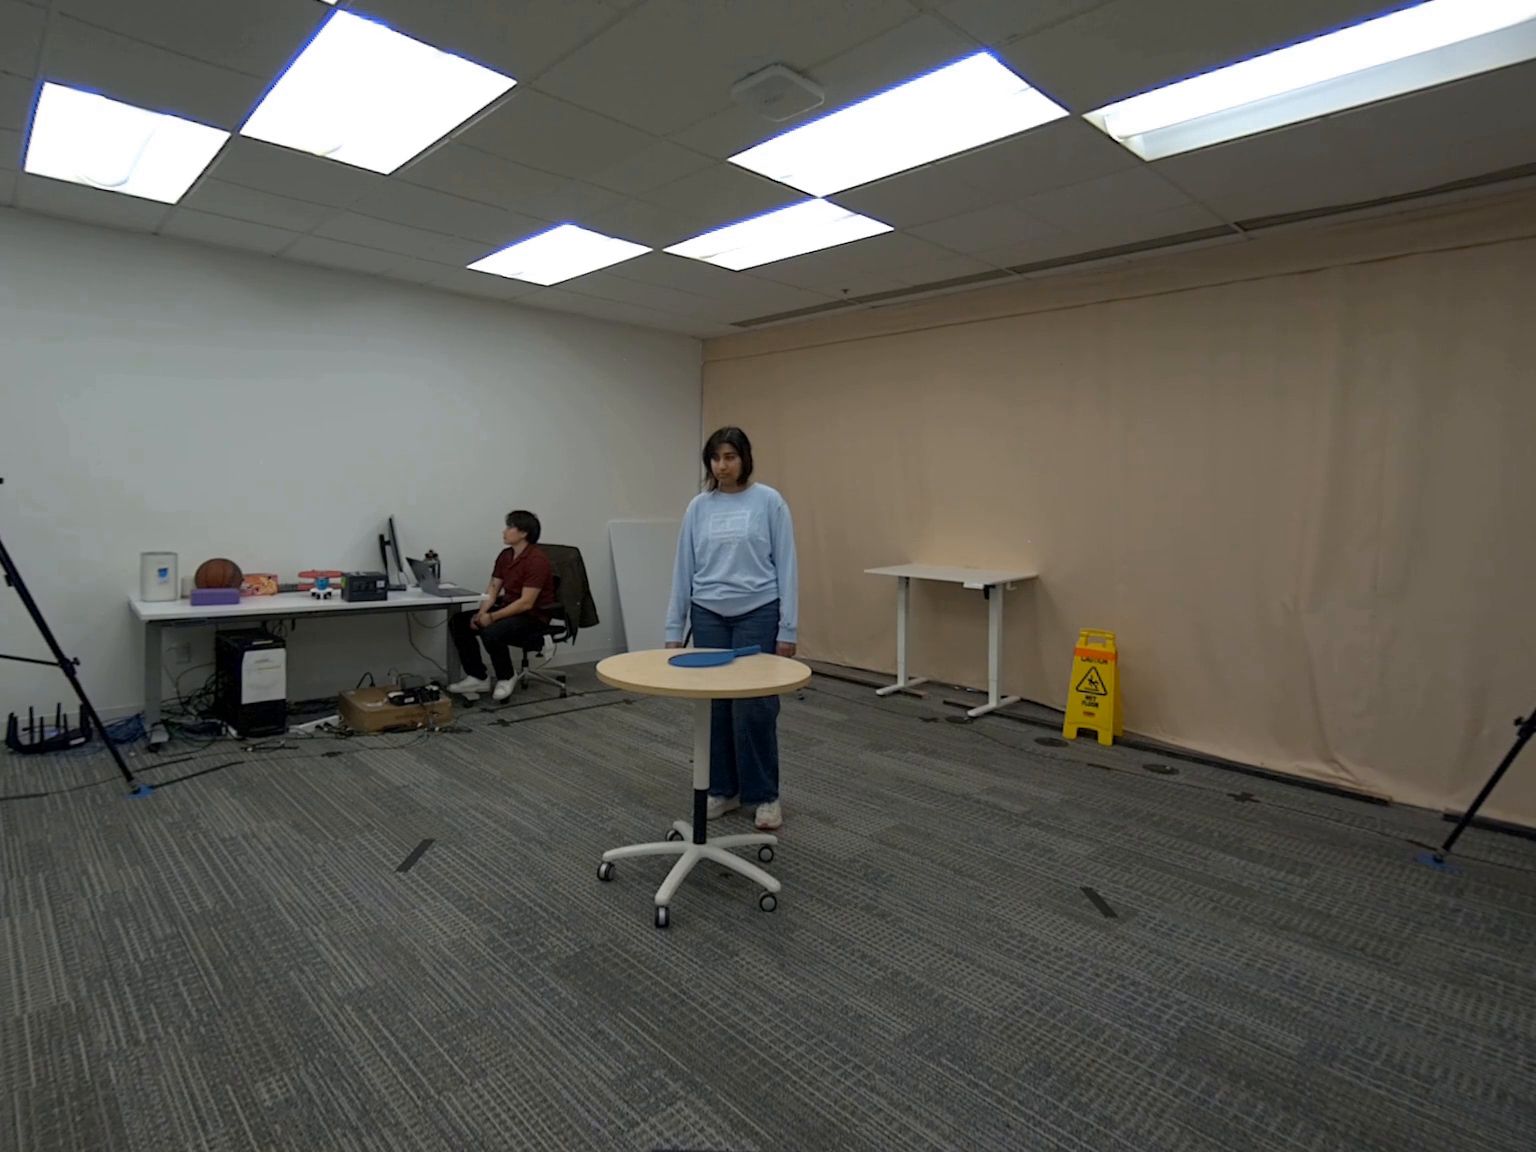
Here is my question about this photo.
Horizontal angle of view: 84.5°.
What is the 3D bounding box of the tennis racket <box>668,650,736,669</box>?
[{"bbox_3d":[-0.208,0.311,3.189,0.423,0.031,0.219,-6,11,-43],"label":"tennis racket"}]
